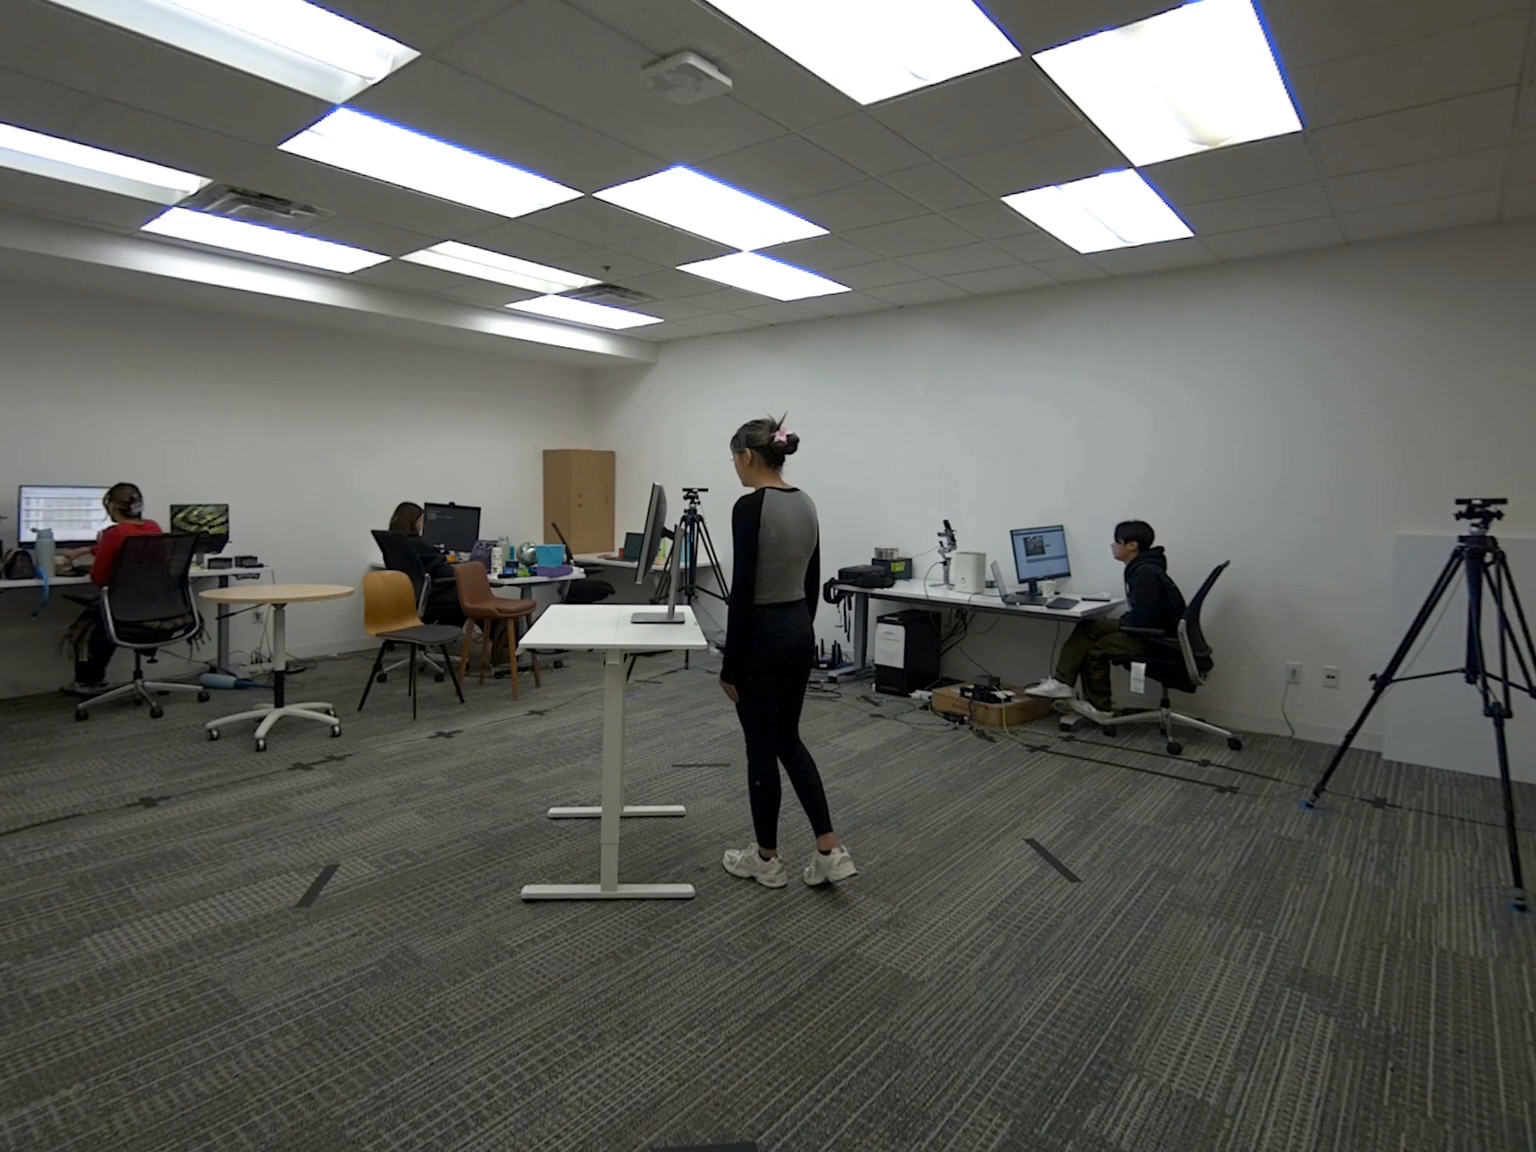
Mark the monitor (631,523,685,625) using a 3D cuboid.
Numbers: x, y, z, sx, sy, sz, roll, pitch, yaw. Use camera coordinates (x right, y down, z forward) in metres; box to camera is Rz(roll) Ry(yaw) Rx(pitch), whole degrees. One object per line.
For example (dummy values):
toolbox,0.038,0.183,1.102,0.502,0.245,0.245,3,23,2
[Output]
monitor,-0.428,-0.091,3.285,0.186,0.521,0.544,-1,4,-7
